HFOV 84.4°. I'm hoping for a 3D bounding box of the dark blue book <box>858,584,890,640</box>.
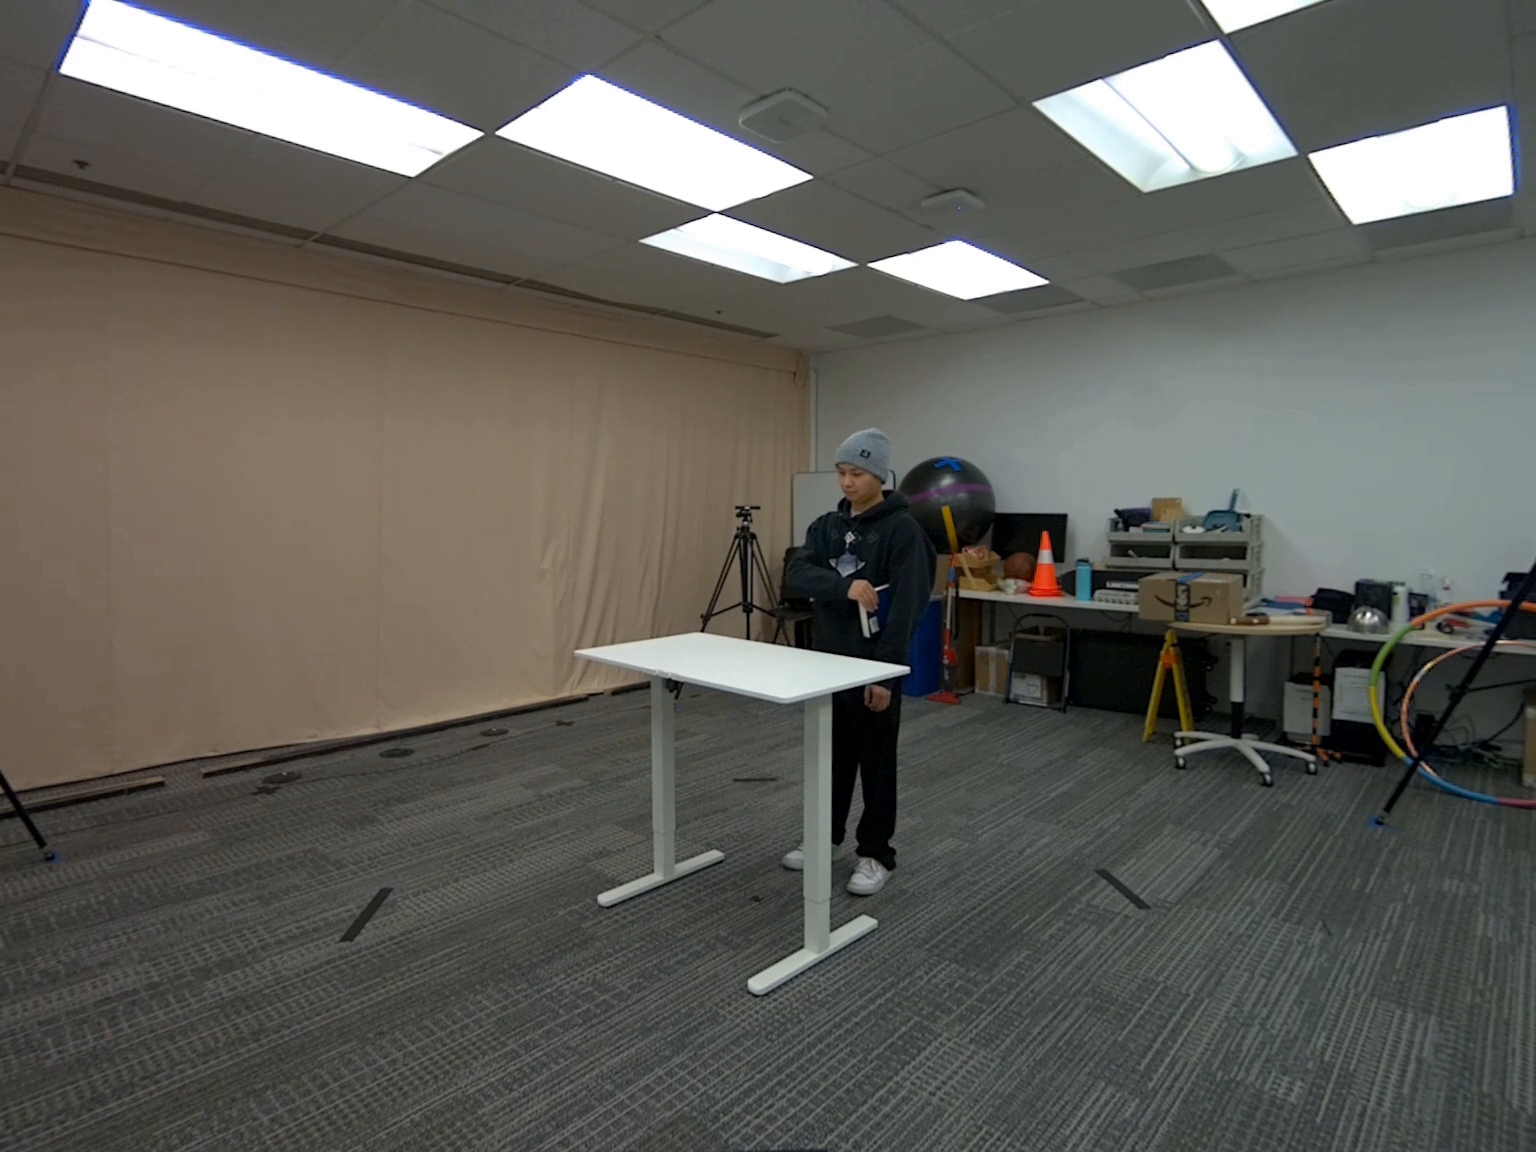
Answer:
[{"bbox_3d":[0.415,0.162,3.004,0.161,0.242,0.046,-12,14,-16],"label":"dark blue book"}]
